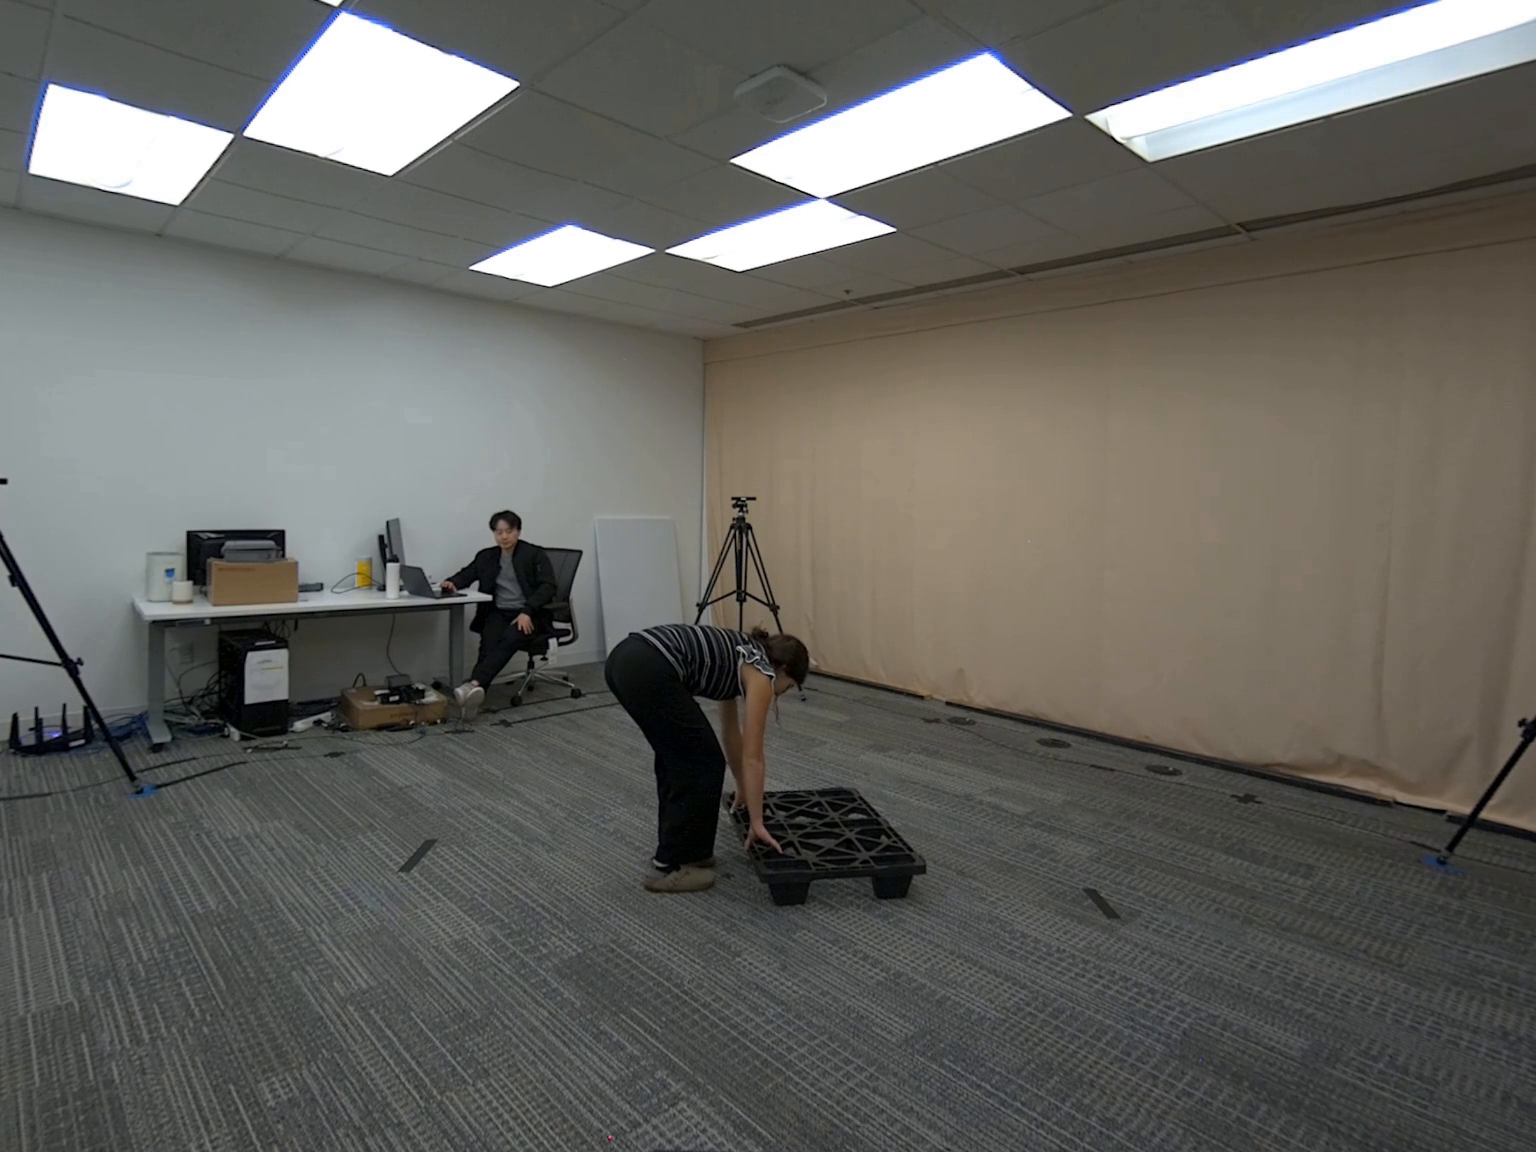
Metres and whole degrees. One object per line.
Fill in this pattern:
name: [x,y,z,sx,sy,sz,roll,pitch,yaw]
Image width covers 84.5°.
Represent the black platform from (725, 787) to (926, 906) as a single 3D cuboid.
black platform: [0.170,1.030,3.273,0.599,0.143,0.815,1,5,-12]
